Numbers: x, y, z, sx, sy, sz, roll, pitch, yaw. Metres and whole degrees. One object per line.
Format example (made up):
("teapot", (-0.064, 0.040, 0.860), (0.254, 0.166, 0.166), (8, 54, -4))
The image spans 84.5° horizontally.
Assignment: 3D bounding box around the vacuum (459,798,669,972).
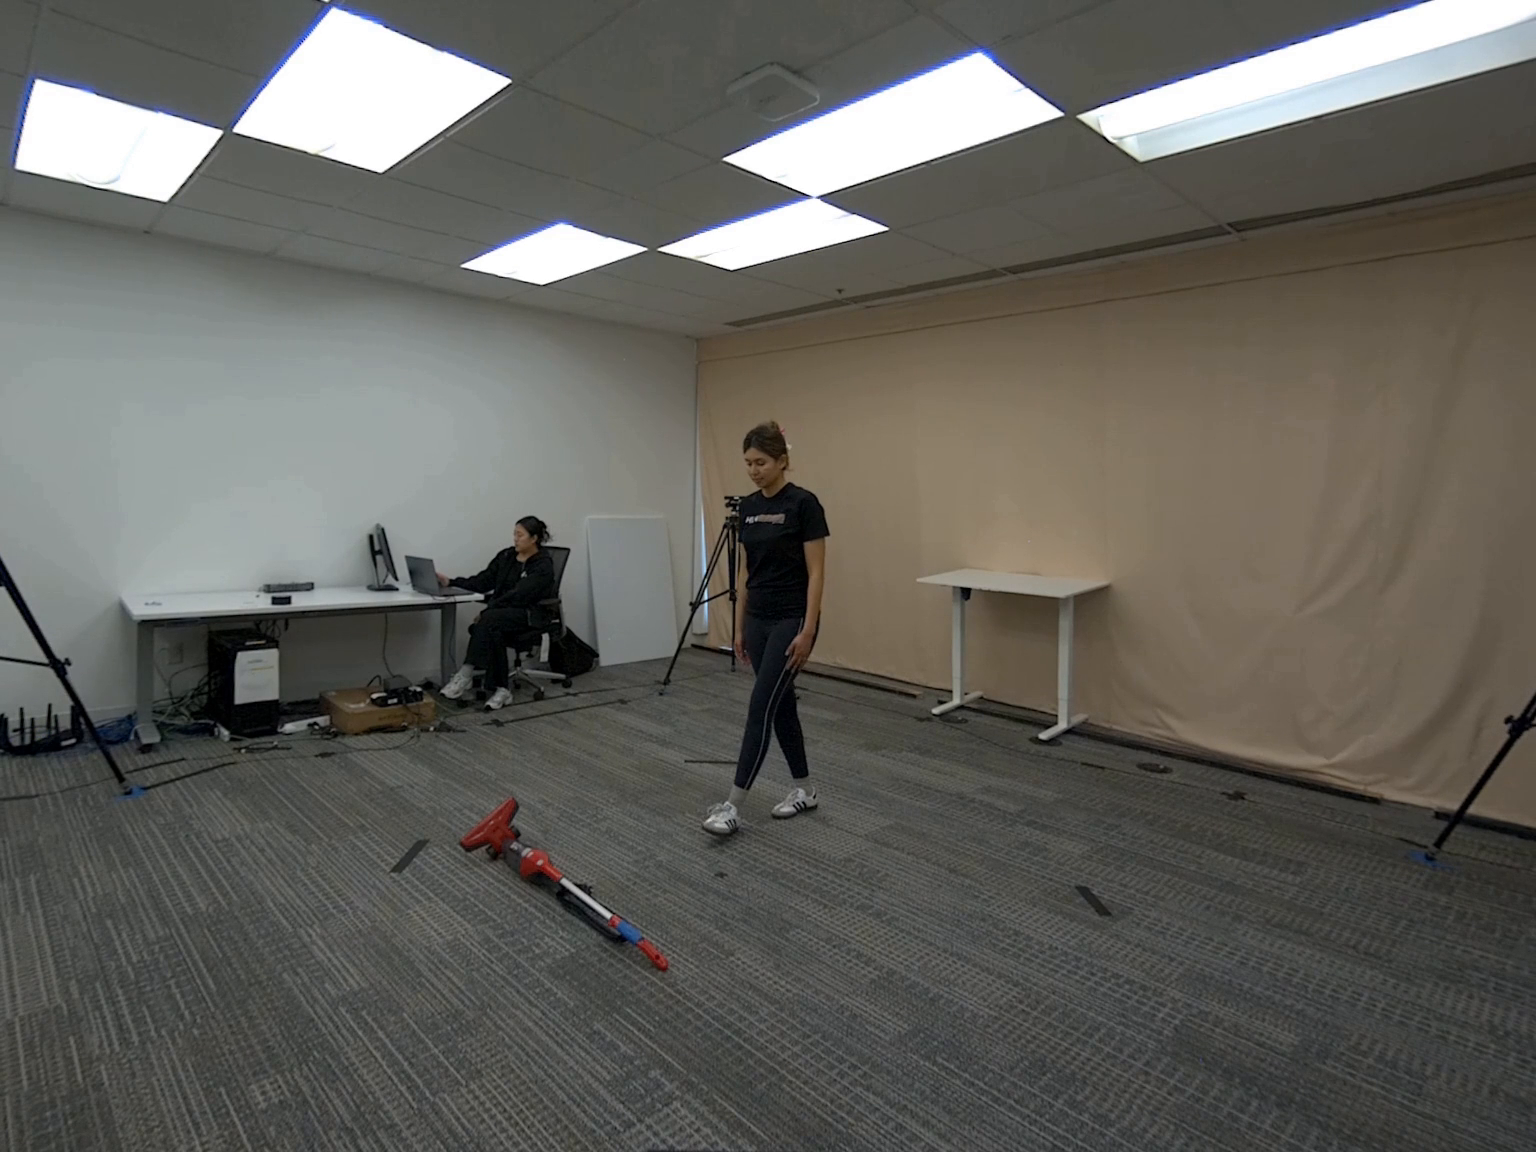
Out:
("vacuum", (-0.683, 1.070, 2.847), (1.079, 0.140, 0.251), (14, 42, 45))
